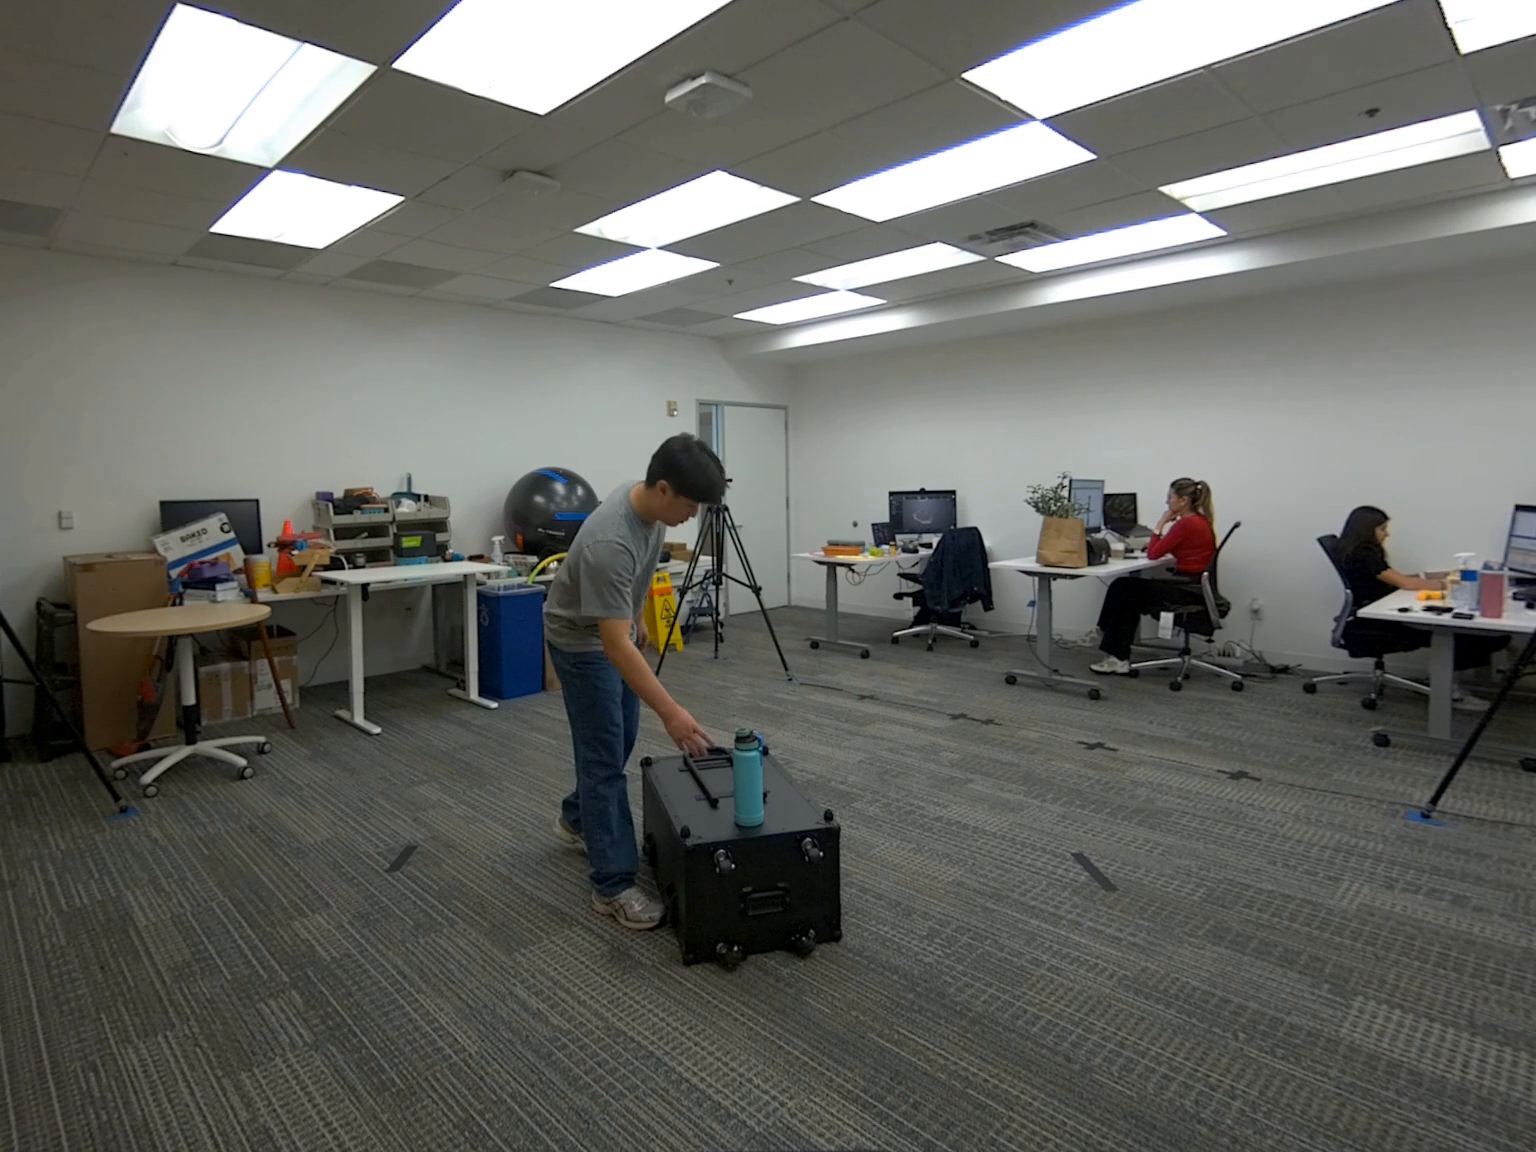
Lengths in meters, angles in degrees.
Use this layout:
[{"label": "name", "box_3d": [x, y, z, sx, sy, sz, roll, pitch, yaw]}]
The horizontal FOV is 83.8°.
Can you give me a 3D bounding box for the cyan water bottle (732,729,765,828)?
[{"label": "cyan water bottle", "box_3d": [-0.059, 0.603, 2.596, 0.092, 0.283, 0.092, 0, 3, -2]}]
